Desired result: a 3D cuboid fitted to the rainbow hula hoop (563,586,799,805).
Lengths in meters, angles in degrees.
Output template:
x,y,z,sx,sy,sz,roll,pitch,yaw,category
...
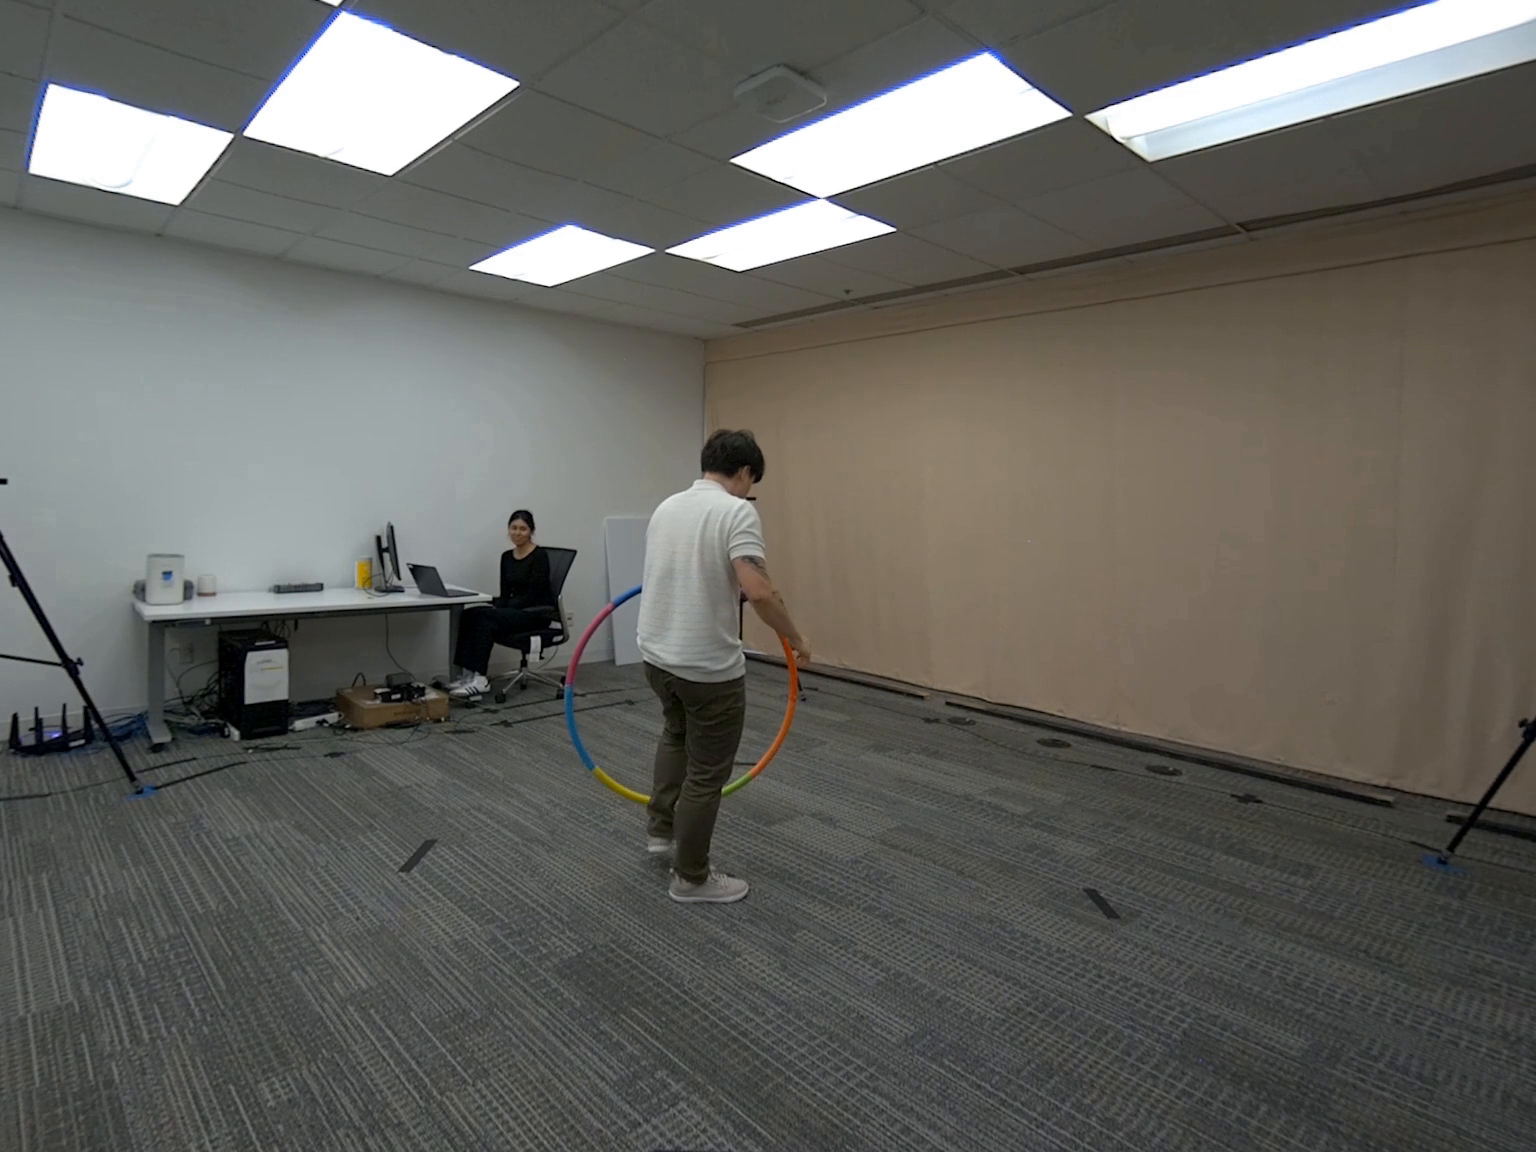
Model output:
x,y,z,sx,sy,sz,roll,pitch,yaw,category
-0.352,0.486,3.491,0.968,0.974,0.036,0,6,-13,rainbow hula hoop
